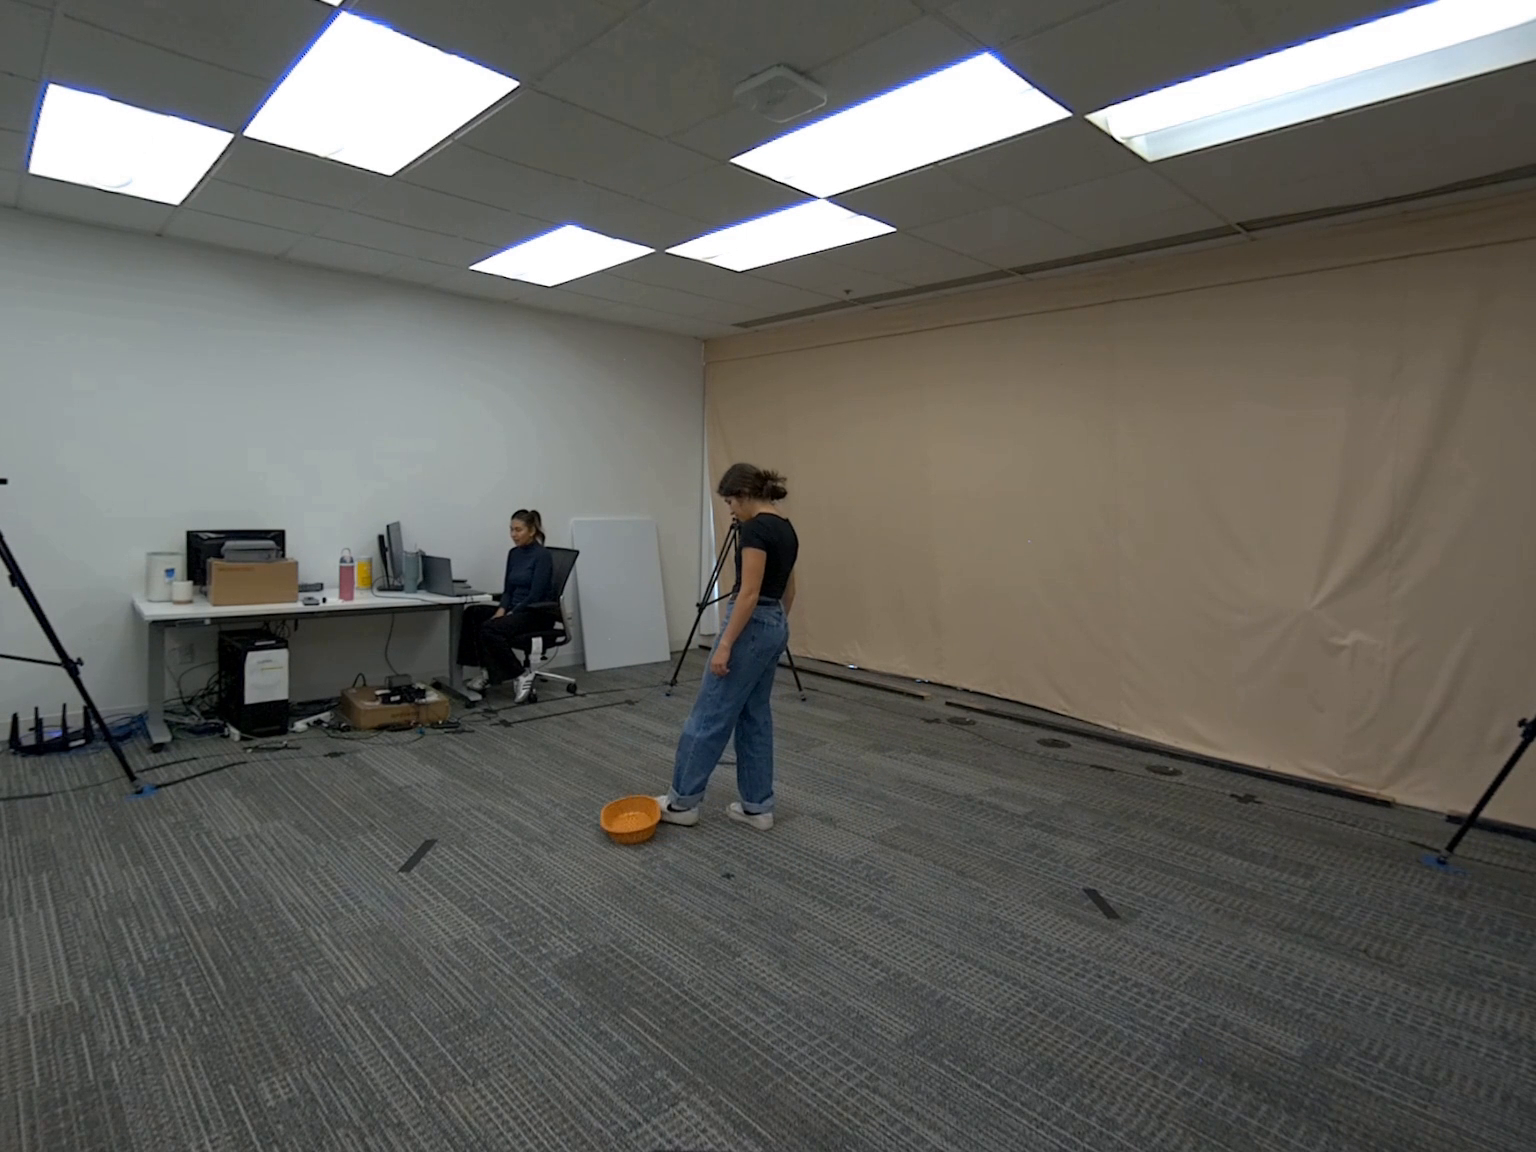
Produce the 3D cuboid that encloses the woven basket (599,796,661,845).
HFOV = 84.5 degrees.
[{"bbox_3d":[-0.580,1.019,3.483,0.251,0.073,0.354,-6,9,-9],"label":"woven basket"}]
